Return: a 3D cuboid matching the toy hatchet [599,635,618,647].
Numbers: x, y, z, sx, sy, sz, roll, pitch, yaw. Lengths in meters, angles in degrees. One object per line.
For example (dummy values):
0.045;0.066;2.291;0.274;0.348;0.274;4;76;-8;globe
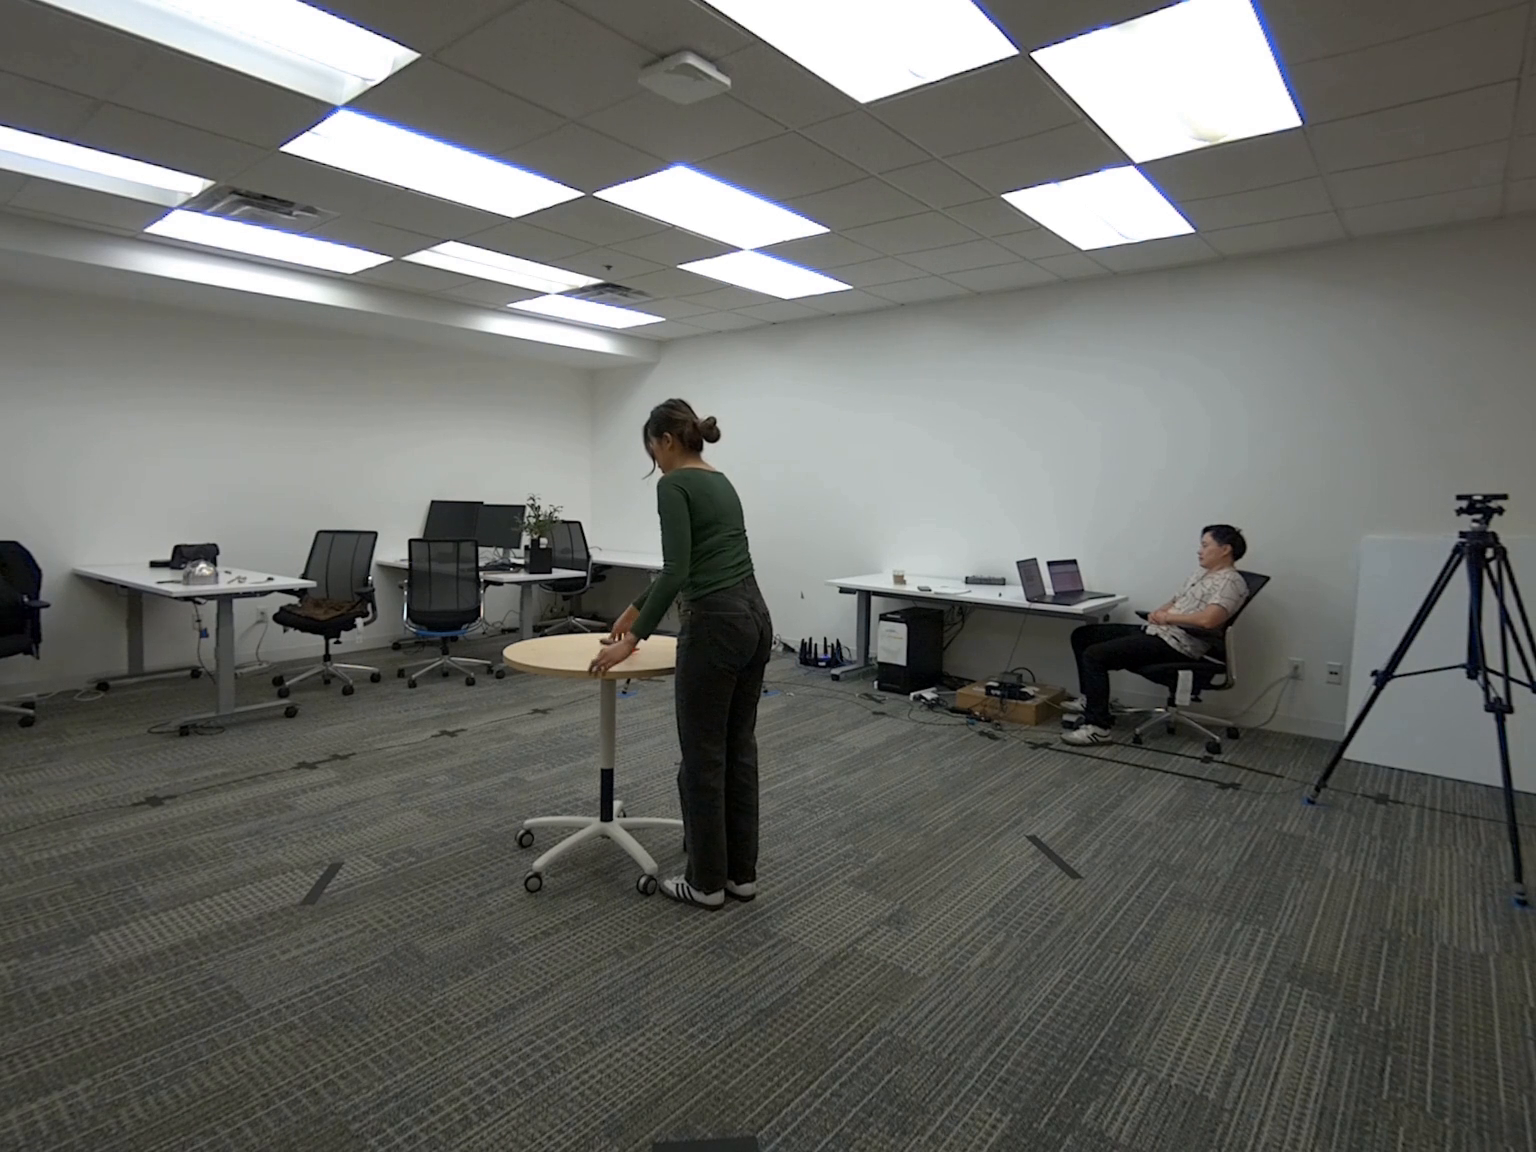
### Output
-0.607;0.261;3.163;0.127;0.029;0.279;-4;7;-34;toy hatchet
